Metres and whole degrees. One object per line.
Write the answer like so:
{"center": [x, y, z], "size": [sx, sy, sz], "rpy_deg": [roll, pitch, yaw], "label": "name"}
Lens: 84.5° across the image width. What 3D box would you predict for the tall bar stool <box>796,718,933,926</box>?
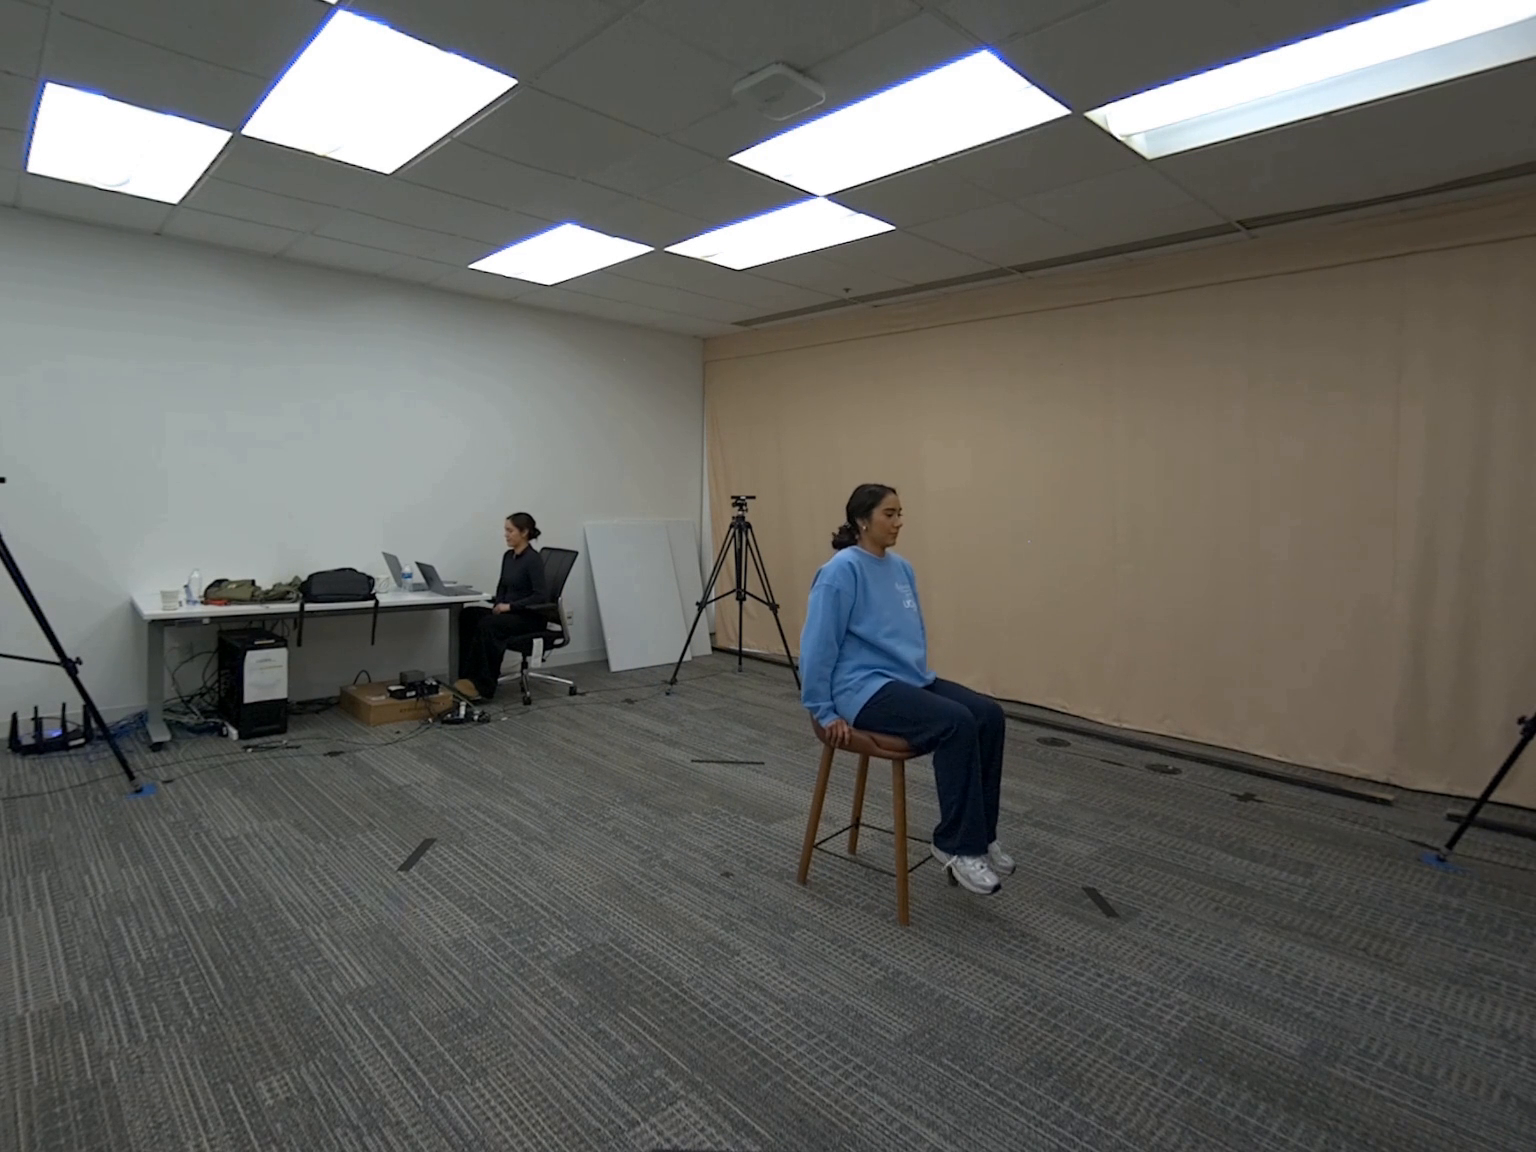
{"center": [0.395, 0.686, 3.033], "size": [0.479, 0.889, 0.446], "rpy_deg": [2, 2, 38], "label": "tall bar stool"}
